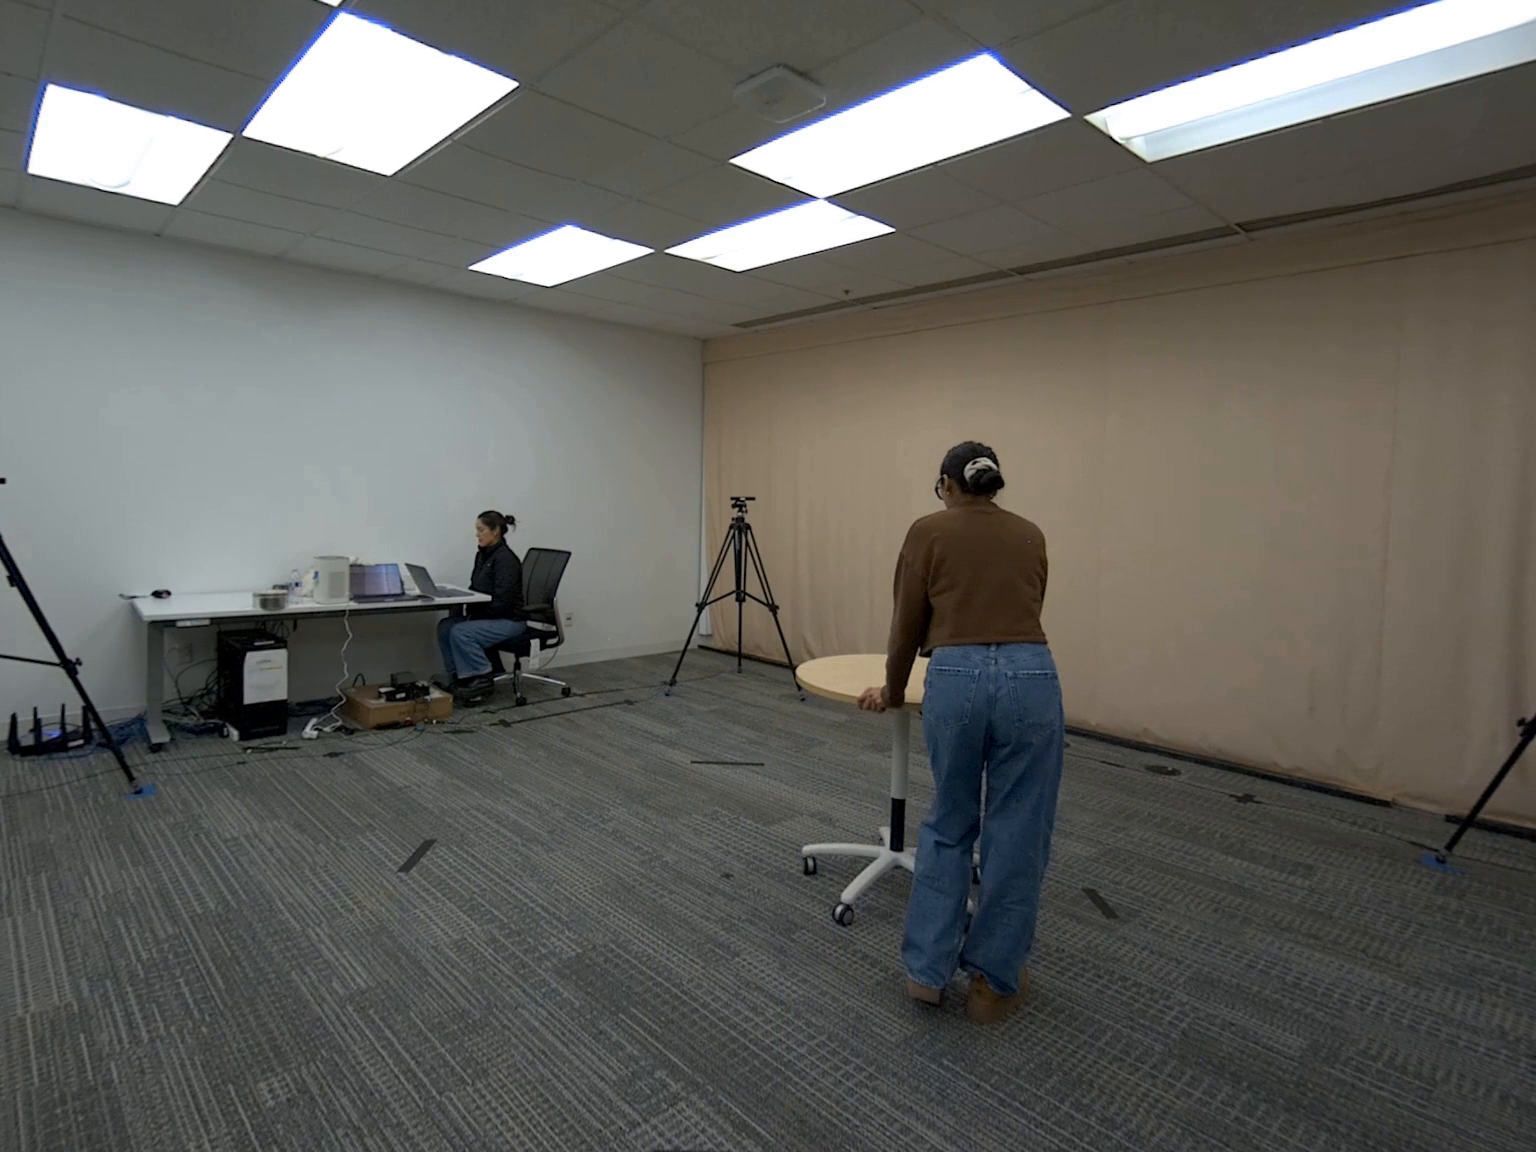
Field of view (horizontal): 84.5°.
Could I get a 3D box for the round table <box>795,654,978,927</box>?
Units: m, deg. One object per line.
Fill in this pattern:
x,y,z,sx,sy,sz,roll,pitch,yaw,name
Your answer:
0.463,0.746,3.015,0.763,0.791,0.767,1,5,-1,round table
